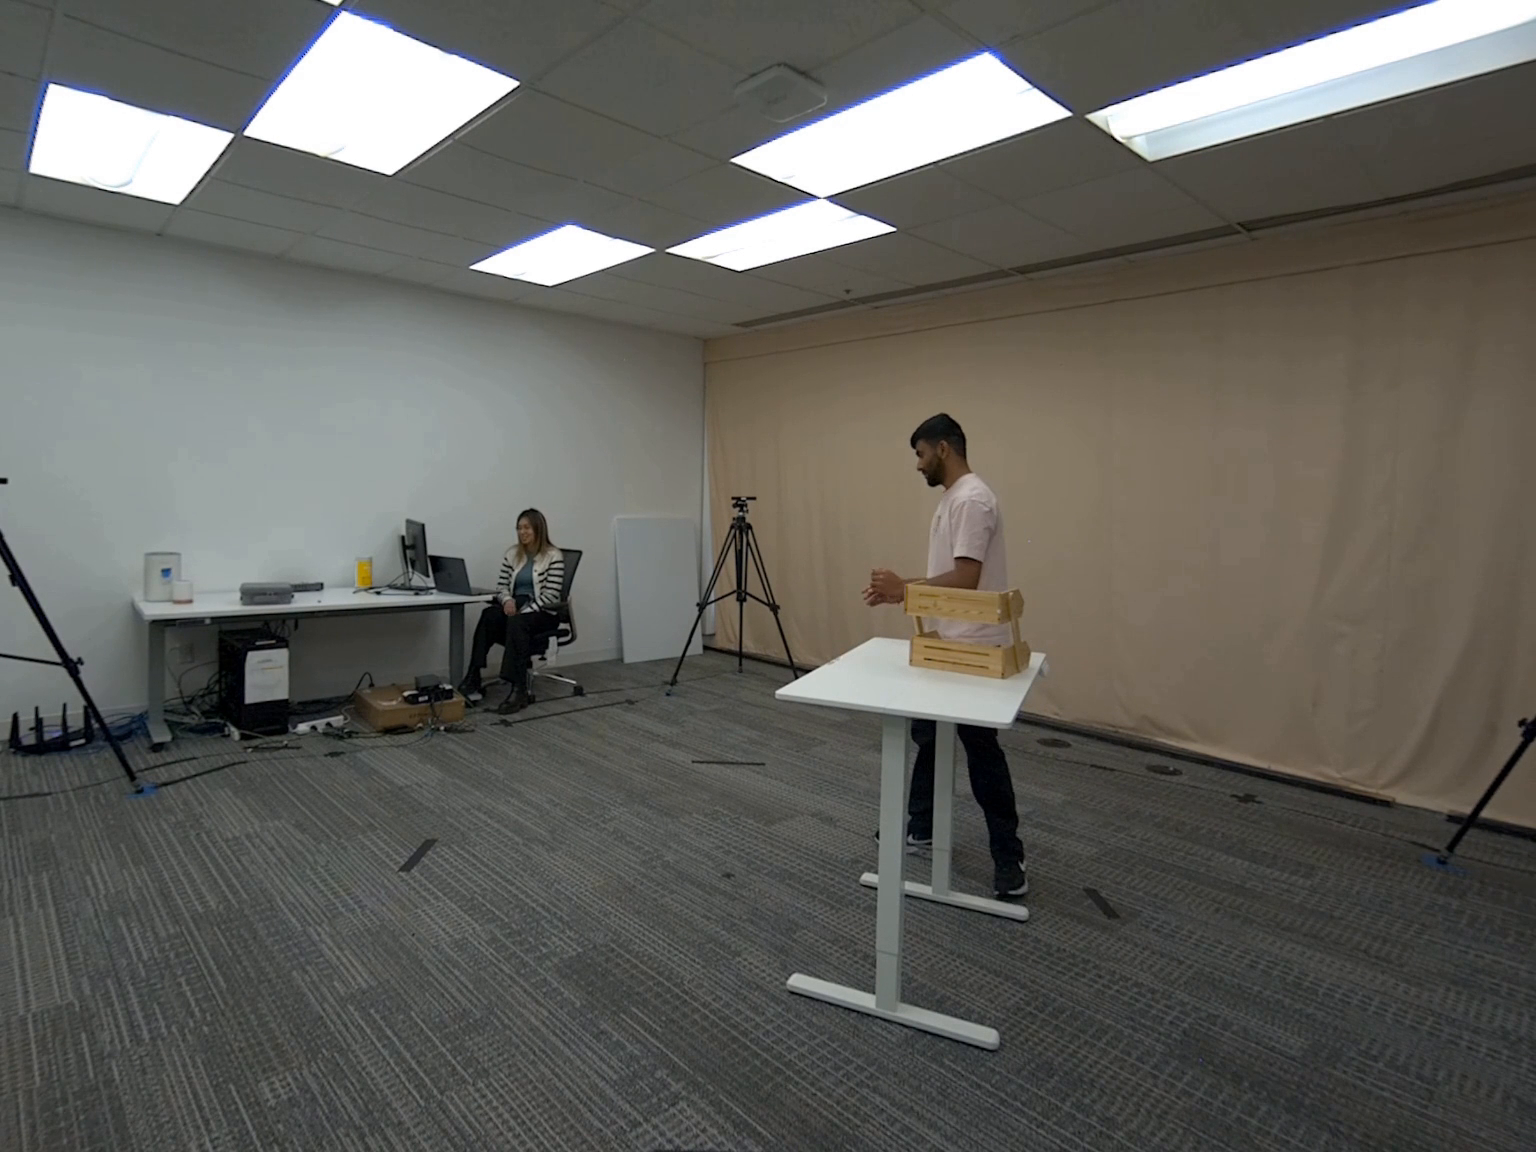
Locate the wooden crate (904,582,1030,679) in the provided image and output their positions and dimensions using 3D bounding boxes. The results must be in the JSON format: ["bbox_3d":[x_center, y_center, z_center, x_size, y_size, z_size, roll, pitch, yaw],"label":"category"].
[{"bbox_3d":[0.618,0.156,2.619,0.332,0.272,0.296,4,6,35],"label":"wooden crate"}]
